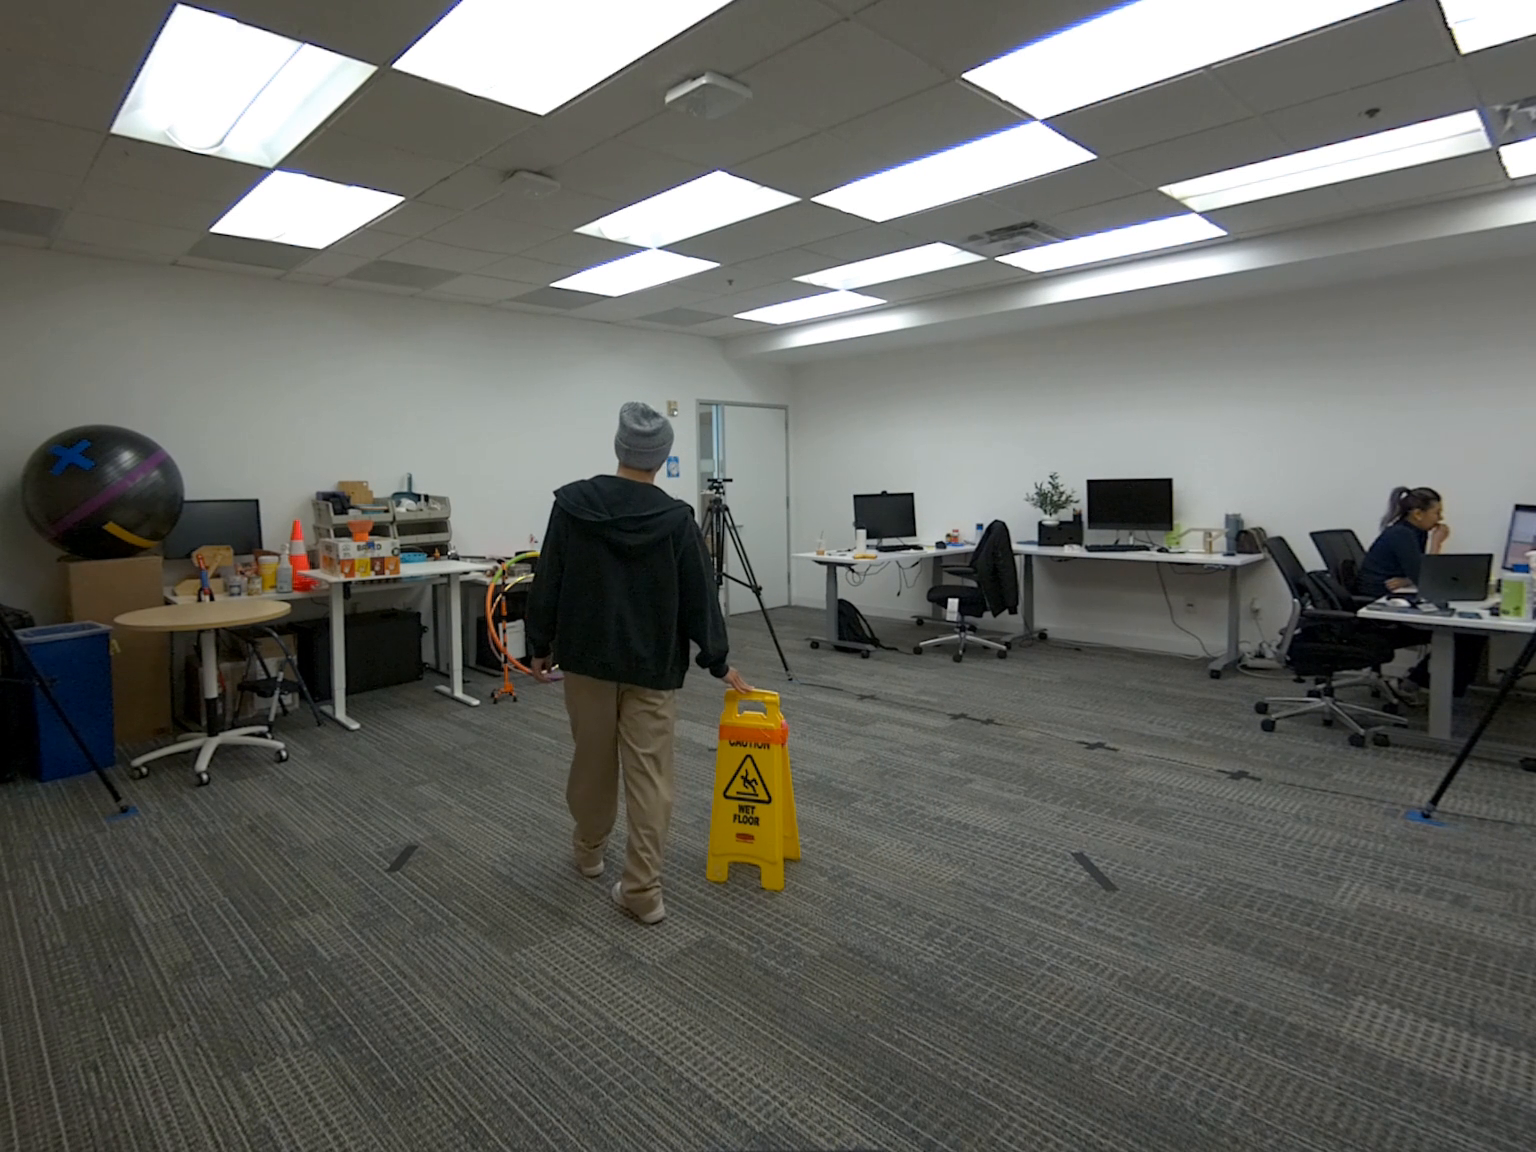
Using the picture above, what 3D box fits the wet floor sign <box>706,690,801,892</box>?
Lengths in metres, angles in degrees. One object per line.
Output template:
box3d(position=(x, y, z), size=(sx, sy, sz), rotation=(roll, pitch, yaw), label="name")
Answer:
box3d(position=(-0.056, 0.729, 3.032), size=(0.287, 0.644, 0.286), rotation=(-1, 4, 18), label="wet floor sign")
